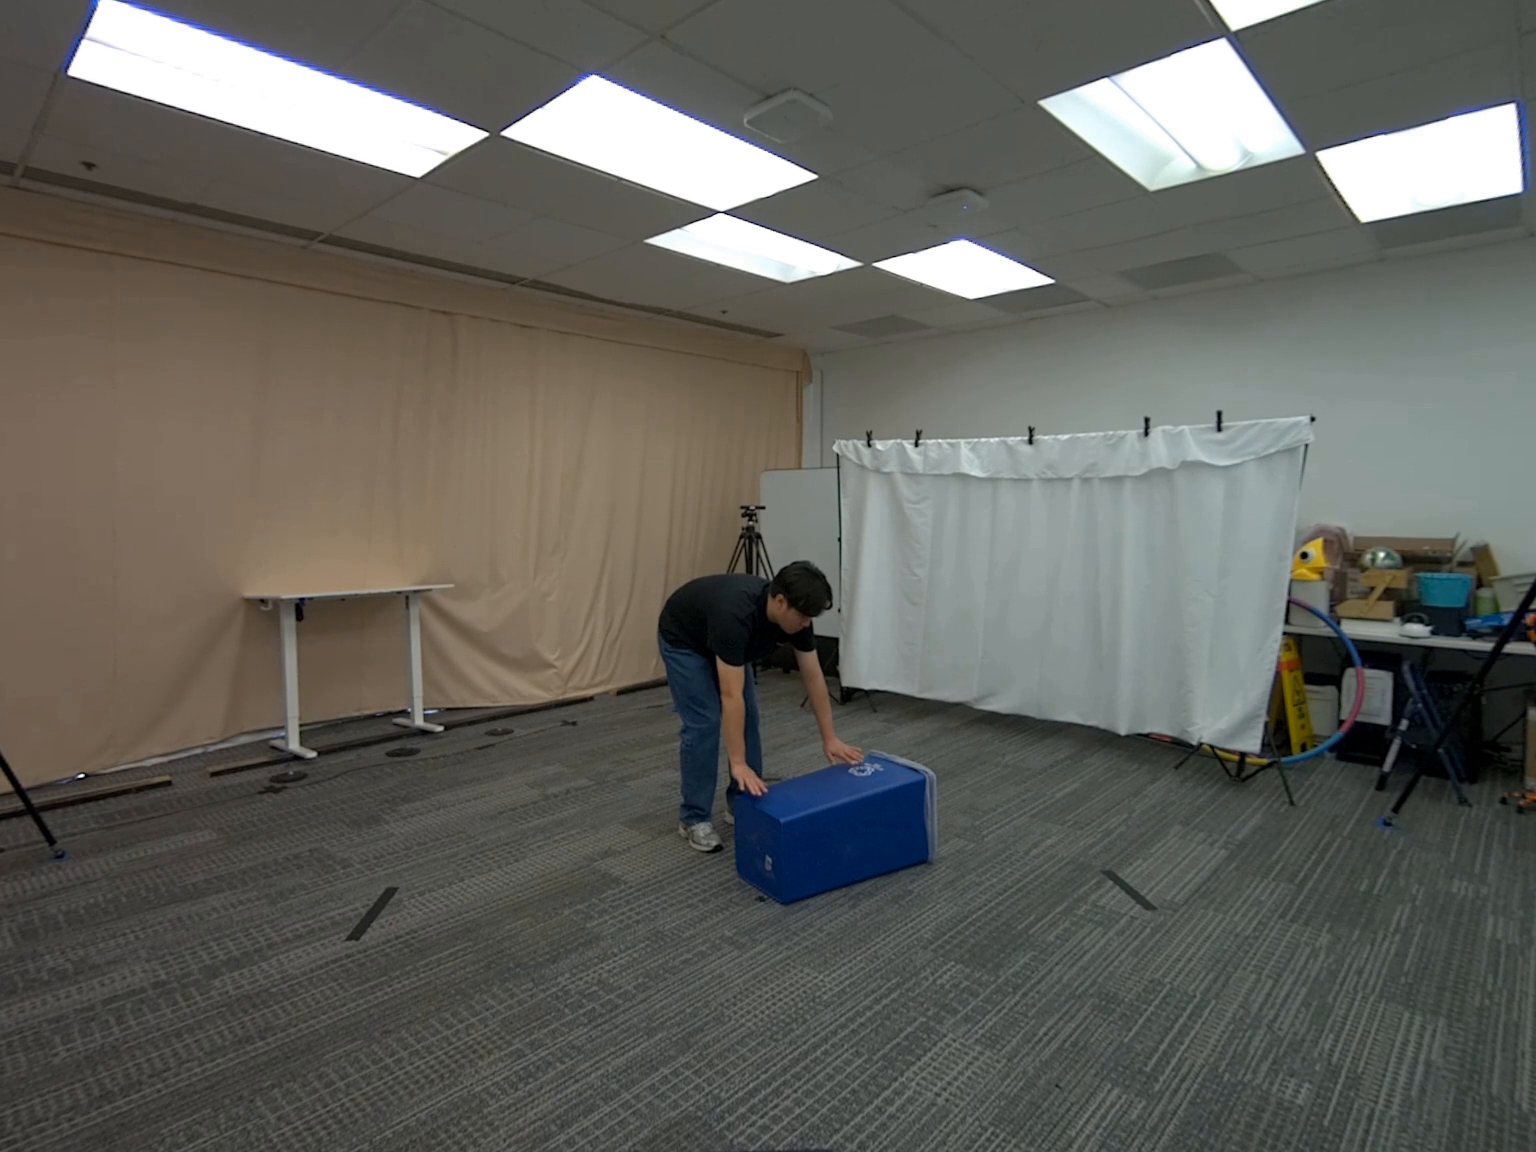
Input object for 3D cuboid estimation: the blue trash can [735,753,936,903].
[{"bbox_3d":[0.263,0.956,3.215,0.694,0.376,0.386,-7,7,-34],"label":"blue trash can"}]
